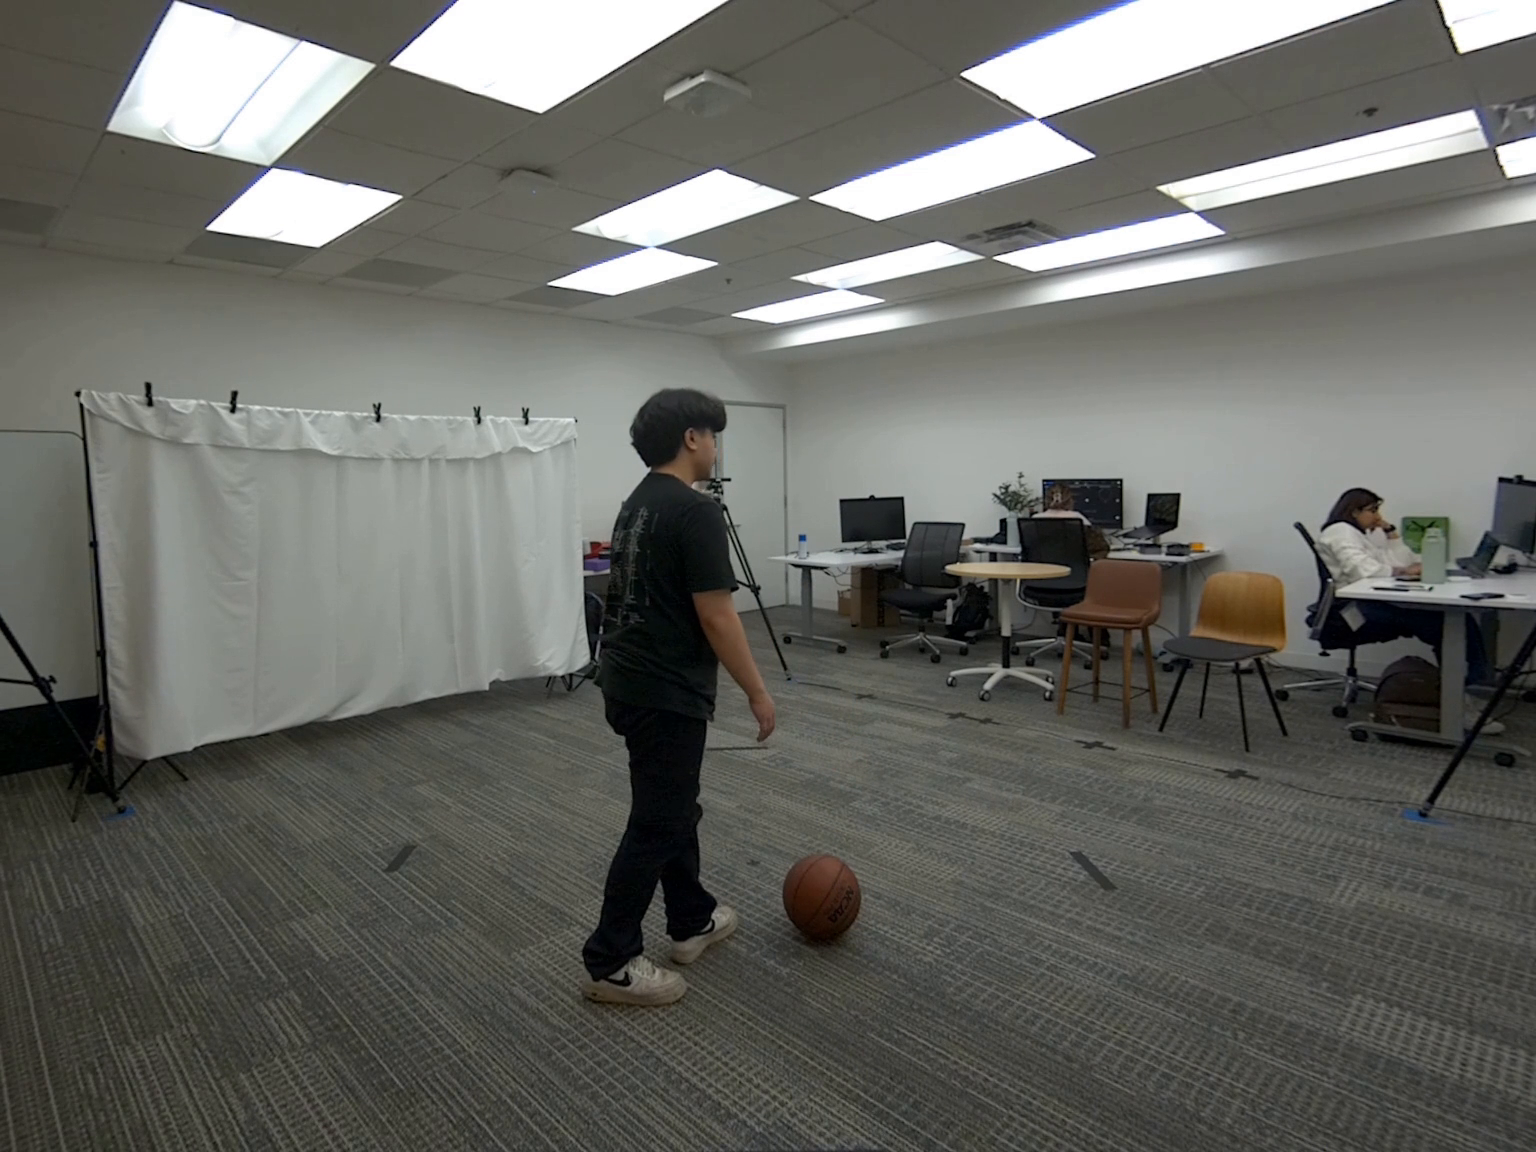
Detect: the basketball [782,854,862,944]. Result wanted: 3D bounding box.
[{"bbox_3d":[0.166,0.975,2.609,0.236,0.235,0.237,-1,5,-2],"label":"basketball"}]
